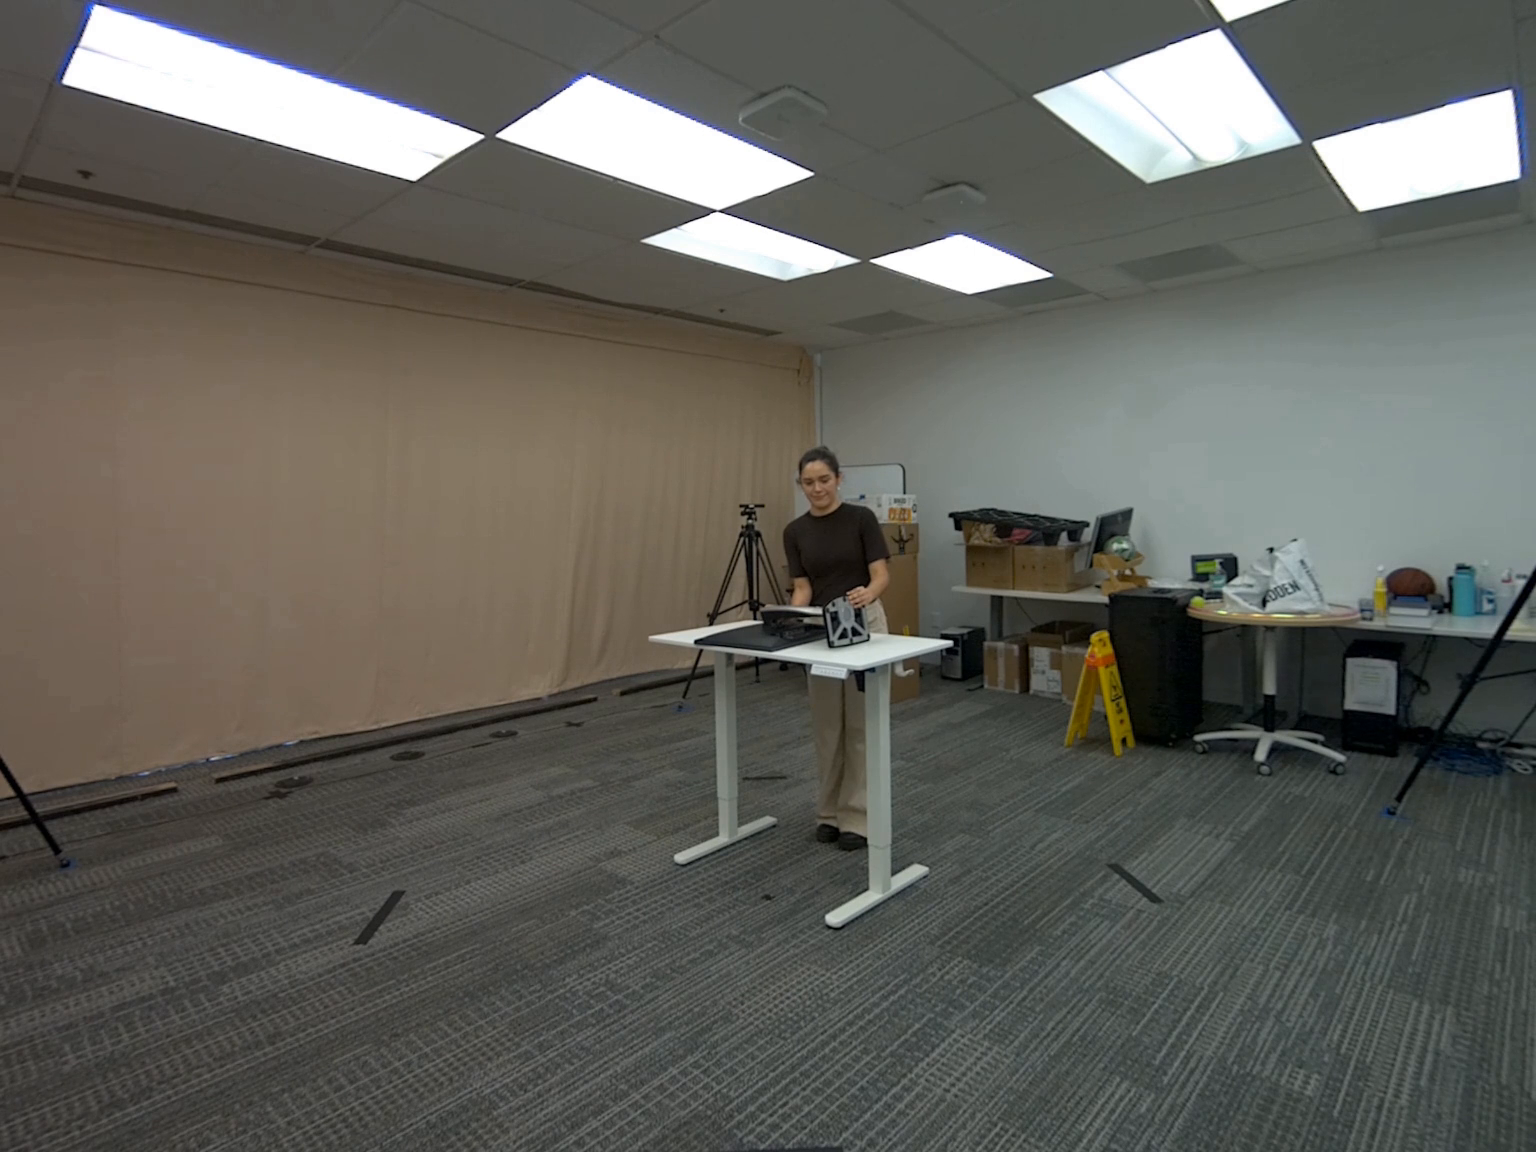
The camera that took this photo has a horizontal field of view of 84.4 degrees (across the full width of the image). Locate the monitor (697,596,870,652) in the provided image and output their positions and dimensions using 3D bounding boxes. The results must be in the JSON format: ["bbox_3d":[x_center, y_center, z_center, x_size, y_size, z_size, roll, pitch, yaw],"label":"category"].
[{"bbox_3d":[0.082,0.195,3.155,0.537,0.188,0.522,-10,-5,38],"label":"monitor"}]
